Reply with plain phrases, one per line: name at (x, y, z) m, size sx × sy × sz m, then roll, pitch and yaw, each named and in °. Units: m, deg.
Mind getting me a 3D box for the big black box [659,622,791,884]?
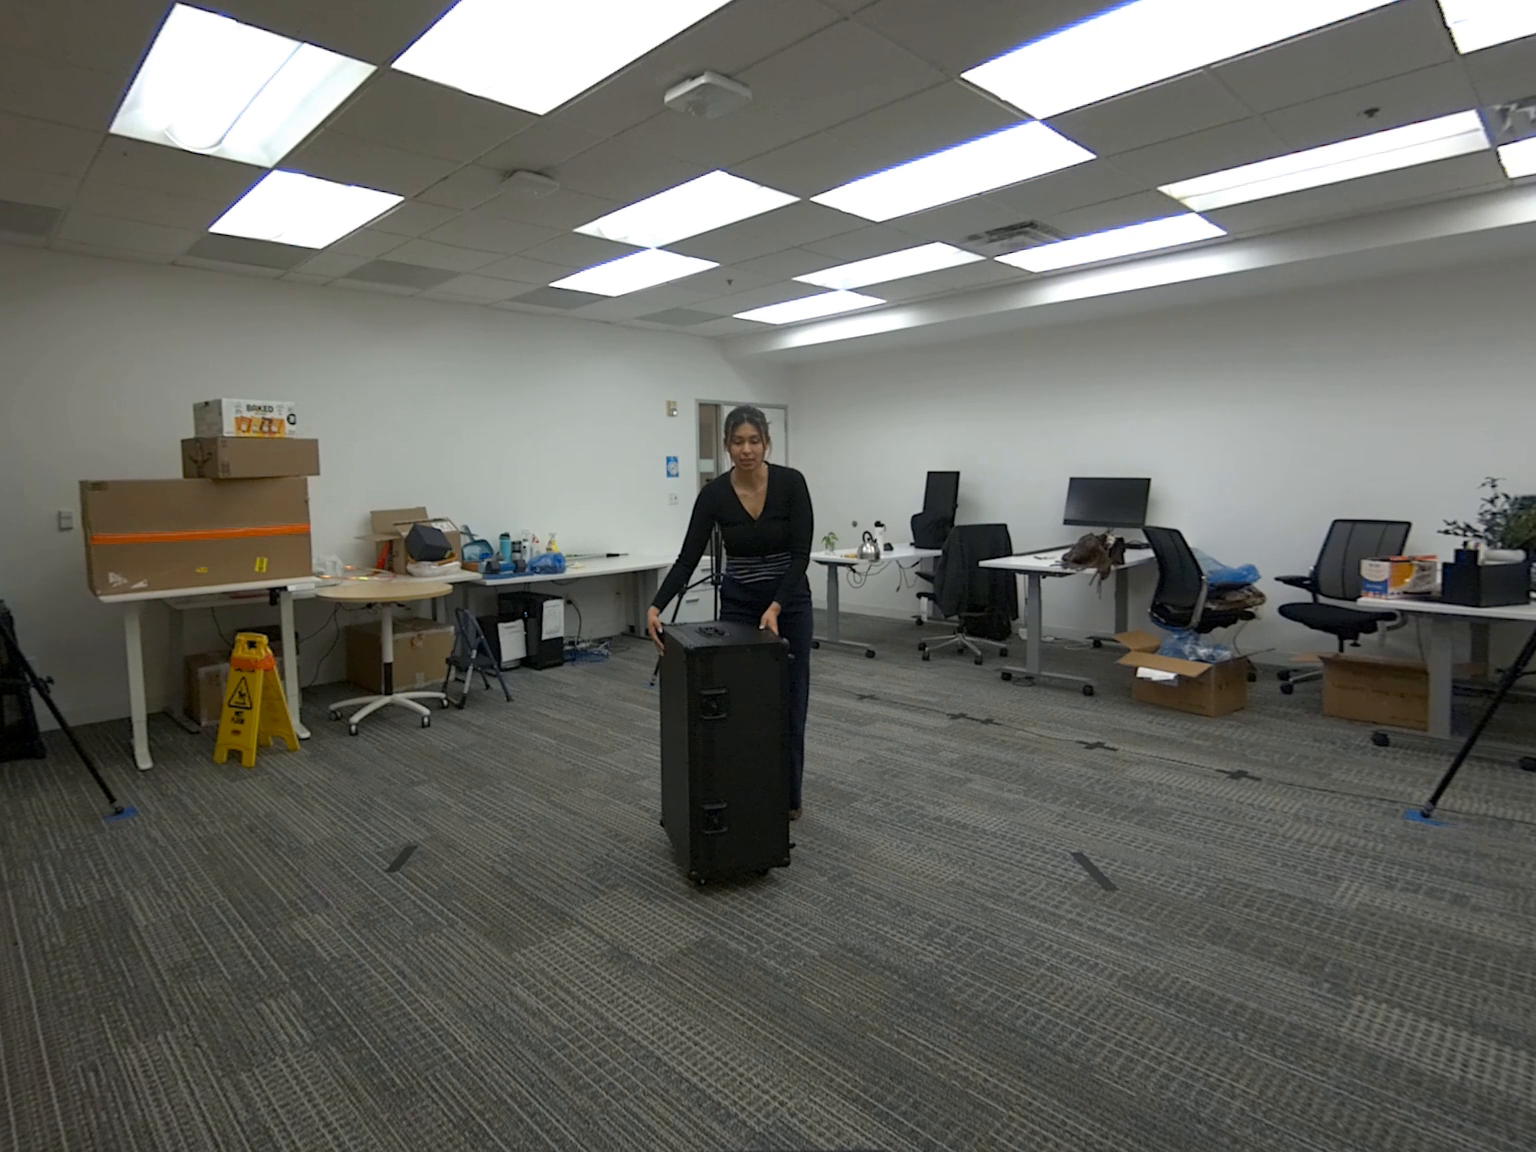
big black box at (-0.163, 0.562, 3.071) m, size 0.390 × 0.859 × 0.531 m, roll -2°, pitch 4°, yaw -18°
